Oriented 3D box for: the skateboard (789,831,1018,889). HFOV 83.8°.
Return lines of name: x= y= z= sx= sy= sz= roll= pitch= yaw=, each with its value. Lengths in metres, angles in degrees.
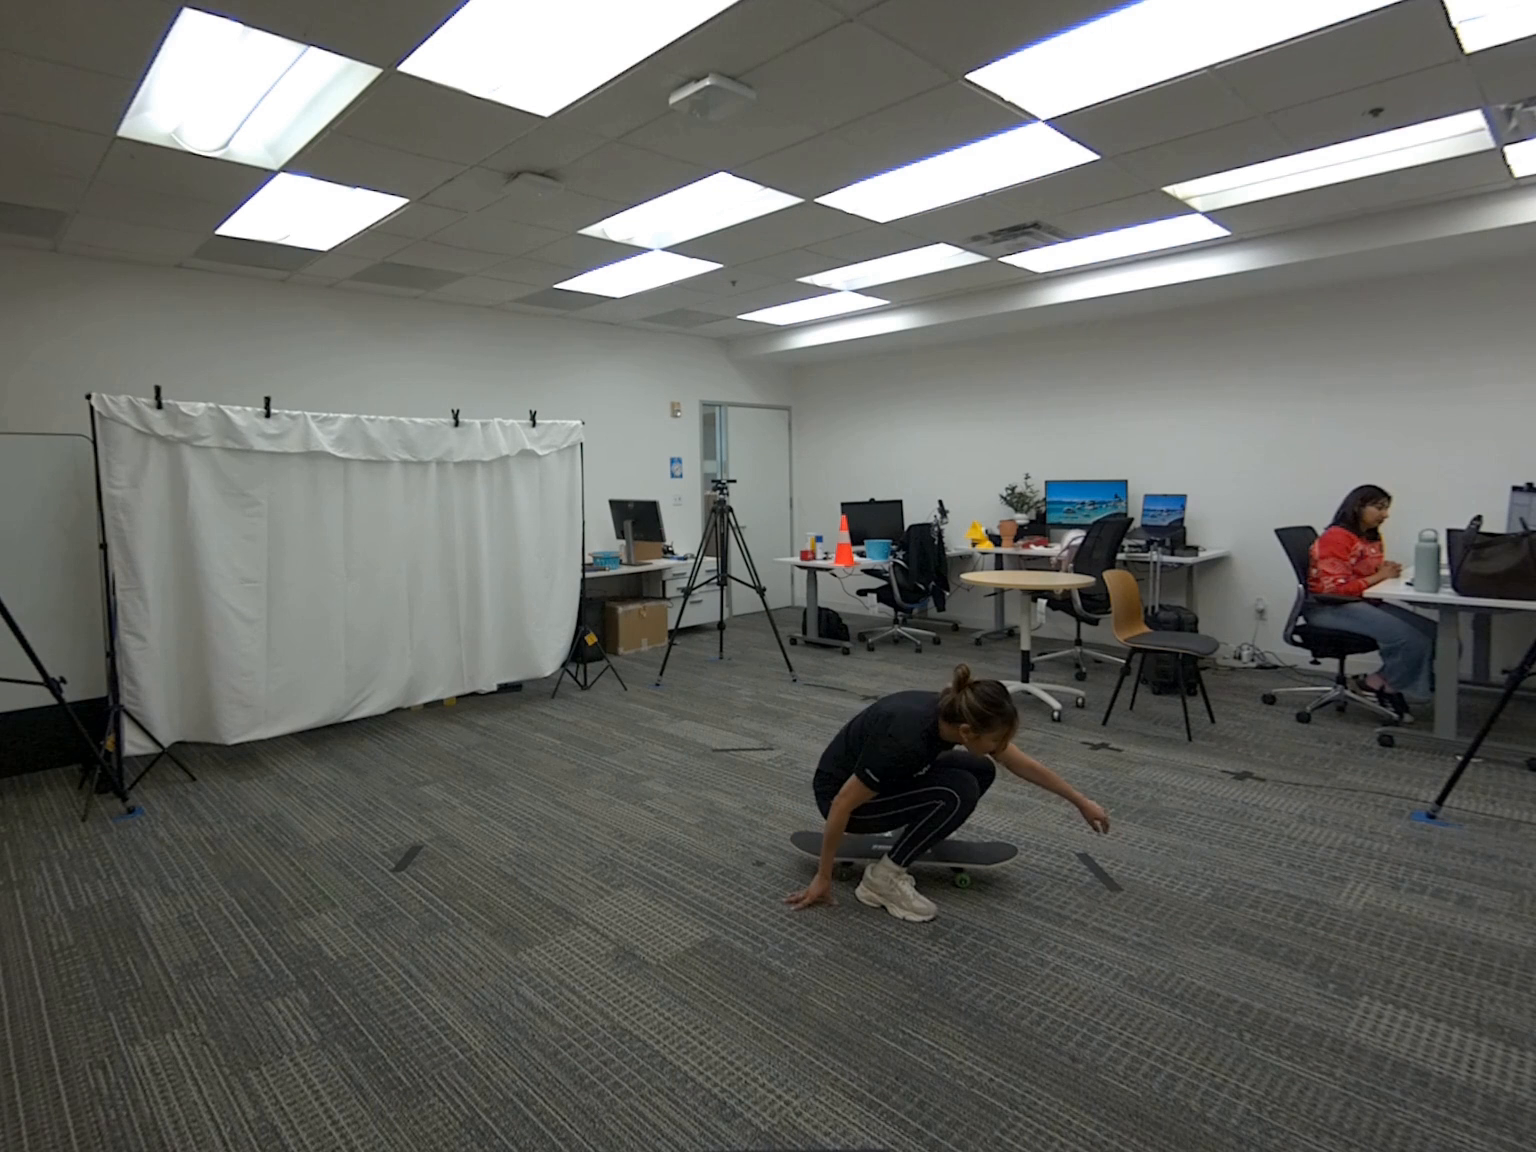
skateboard: x=0.473 y=0.992 z=3.006 sx=0.792 sy=0.110 sz=0.192 roll=-1 pitch=6 yaw=9
